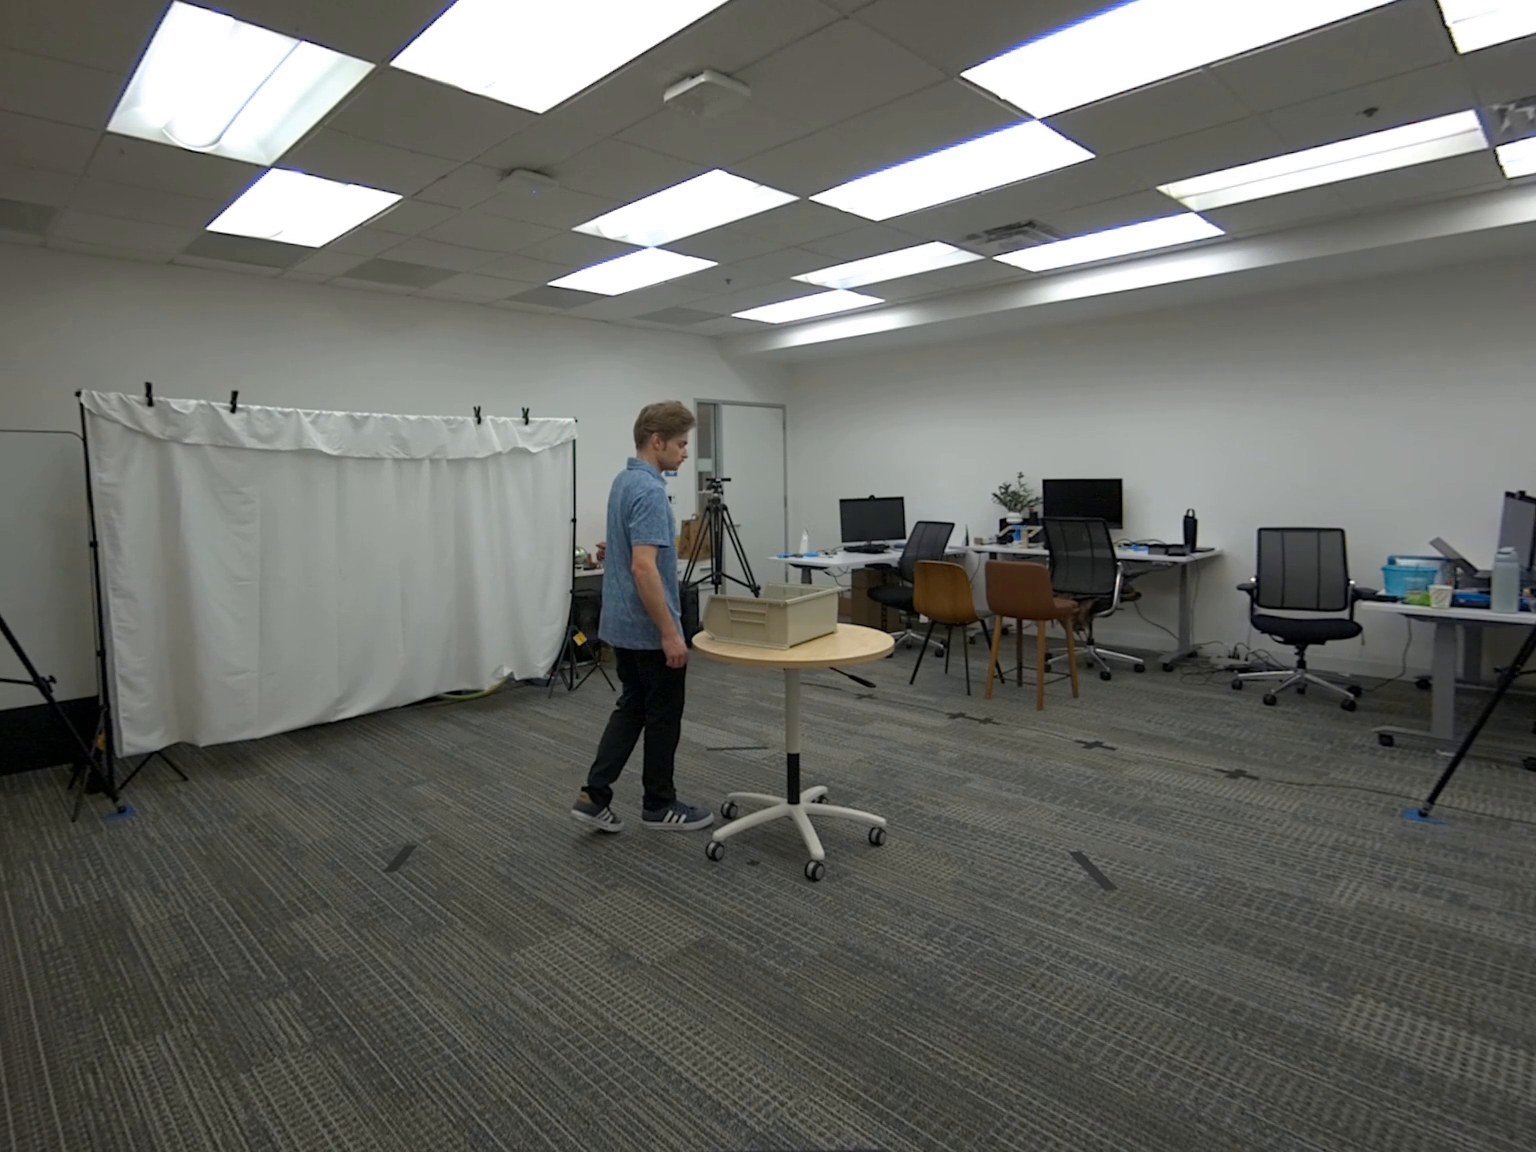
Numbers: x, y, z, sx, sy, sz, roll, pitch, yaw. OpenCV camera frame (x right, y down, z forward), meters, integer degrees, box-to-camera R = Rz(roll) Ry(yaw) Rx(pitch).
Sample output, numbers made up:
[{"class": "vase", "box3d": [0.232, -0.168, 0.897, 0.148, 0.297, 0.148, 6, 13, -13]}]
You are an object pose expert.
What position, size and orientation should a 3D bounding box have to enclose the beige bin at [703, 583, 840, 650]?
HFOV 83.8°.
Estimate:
[{"class": "beige bin", "box3d": [0.016, 0.146, 3.305, 0.388, 0.188, 0.412, 5, 8, 33]}]
